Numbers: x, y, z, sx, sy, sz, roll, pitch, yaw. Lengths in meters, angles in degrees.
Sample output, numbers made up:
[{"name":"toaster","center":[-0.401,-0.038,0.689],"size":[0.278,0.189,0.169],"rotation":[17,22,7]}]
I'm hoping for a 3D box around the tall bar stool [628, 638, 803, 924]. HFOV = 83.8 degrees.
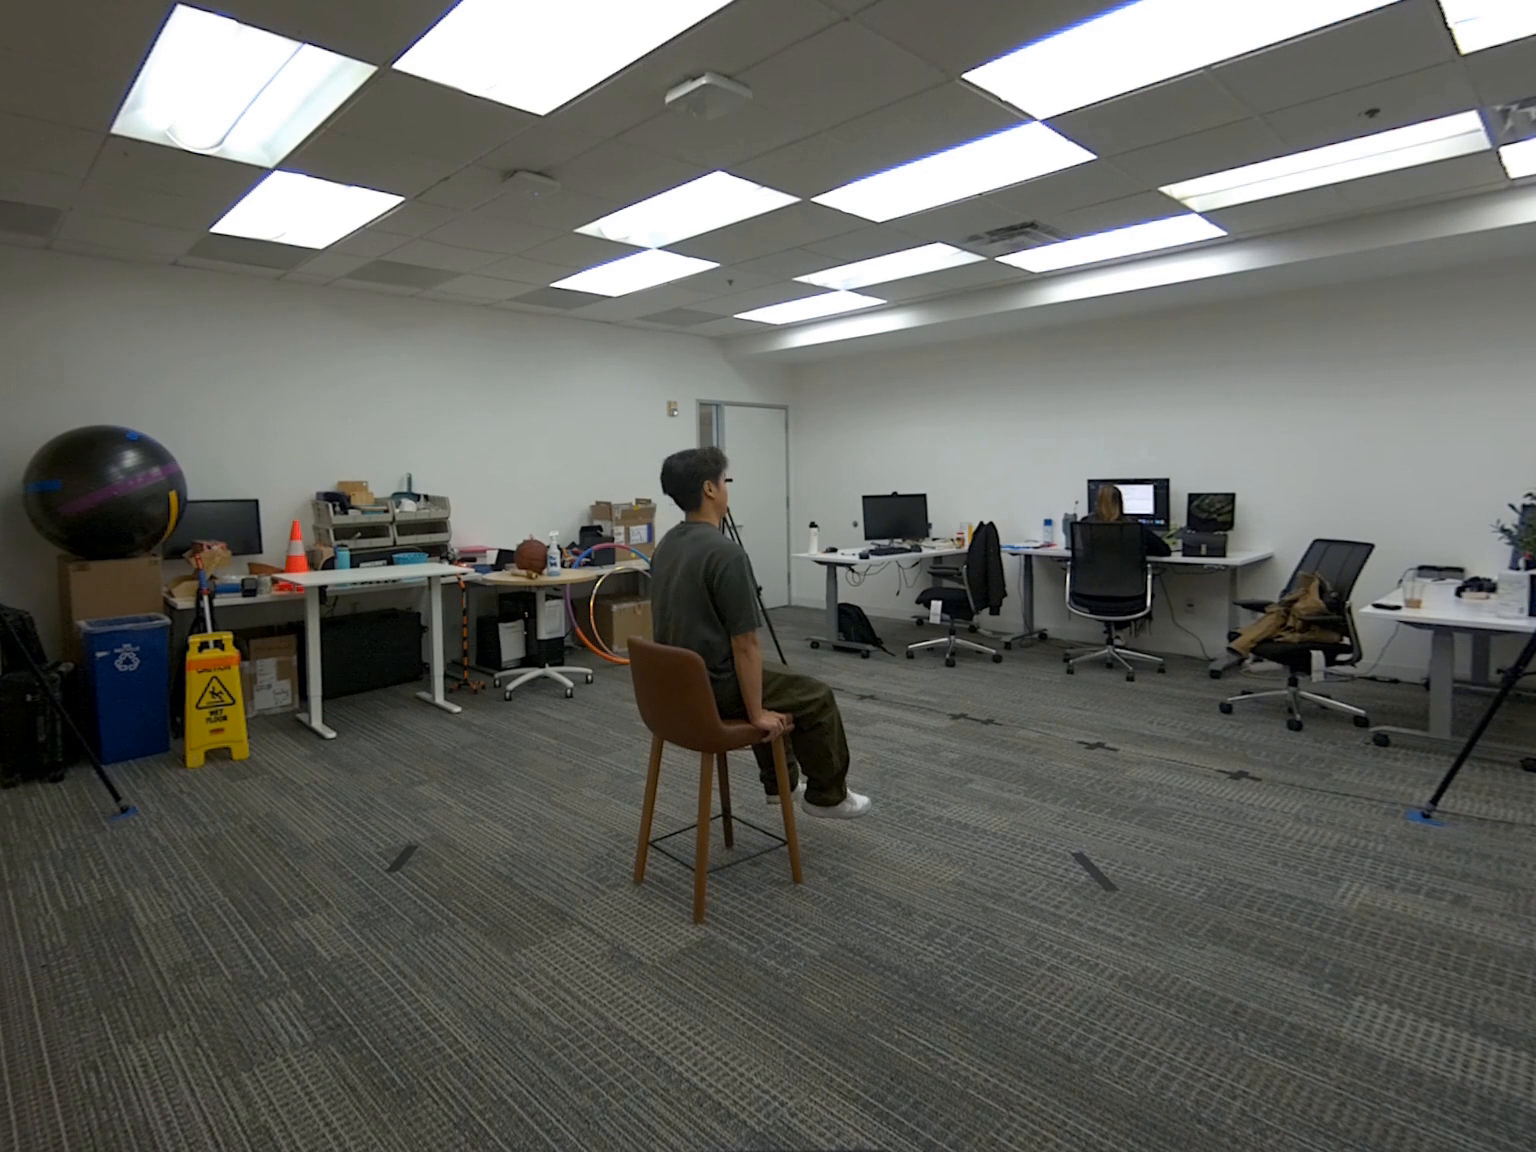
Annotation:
[{"name":"tall bar stool","center":[-0.193,0.631,2.934],"size":[0.456,0.885,0.470],"rotation":[-7,7,-40]}]
